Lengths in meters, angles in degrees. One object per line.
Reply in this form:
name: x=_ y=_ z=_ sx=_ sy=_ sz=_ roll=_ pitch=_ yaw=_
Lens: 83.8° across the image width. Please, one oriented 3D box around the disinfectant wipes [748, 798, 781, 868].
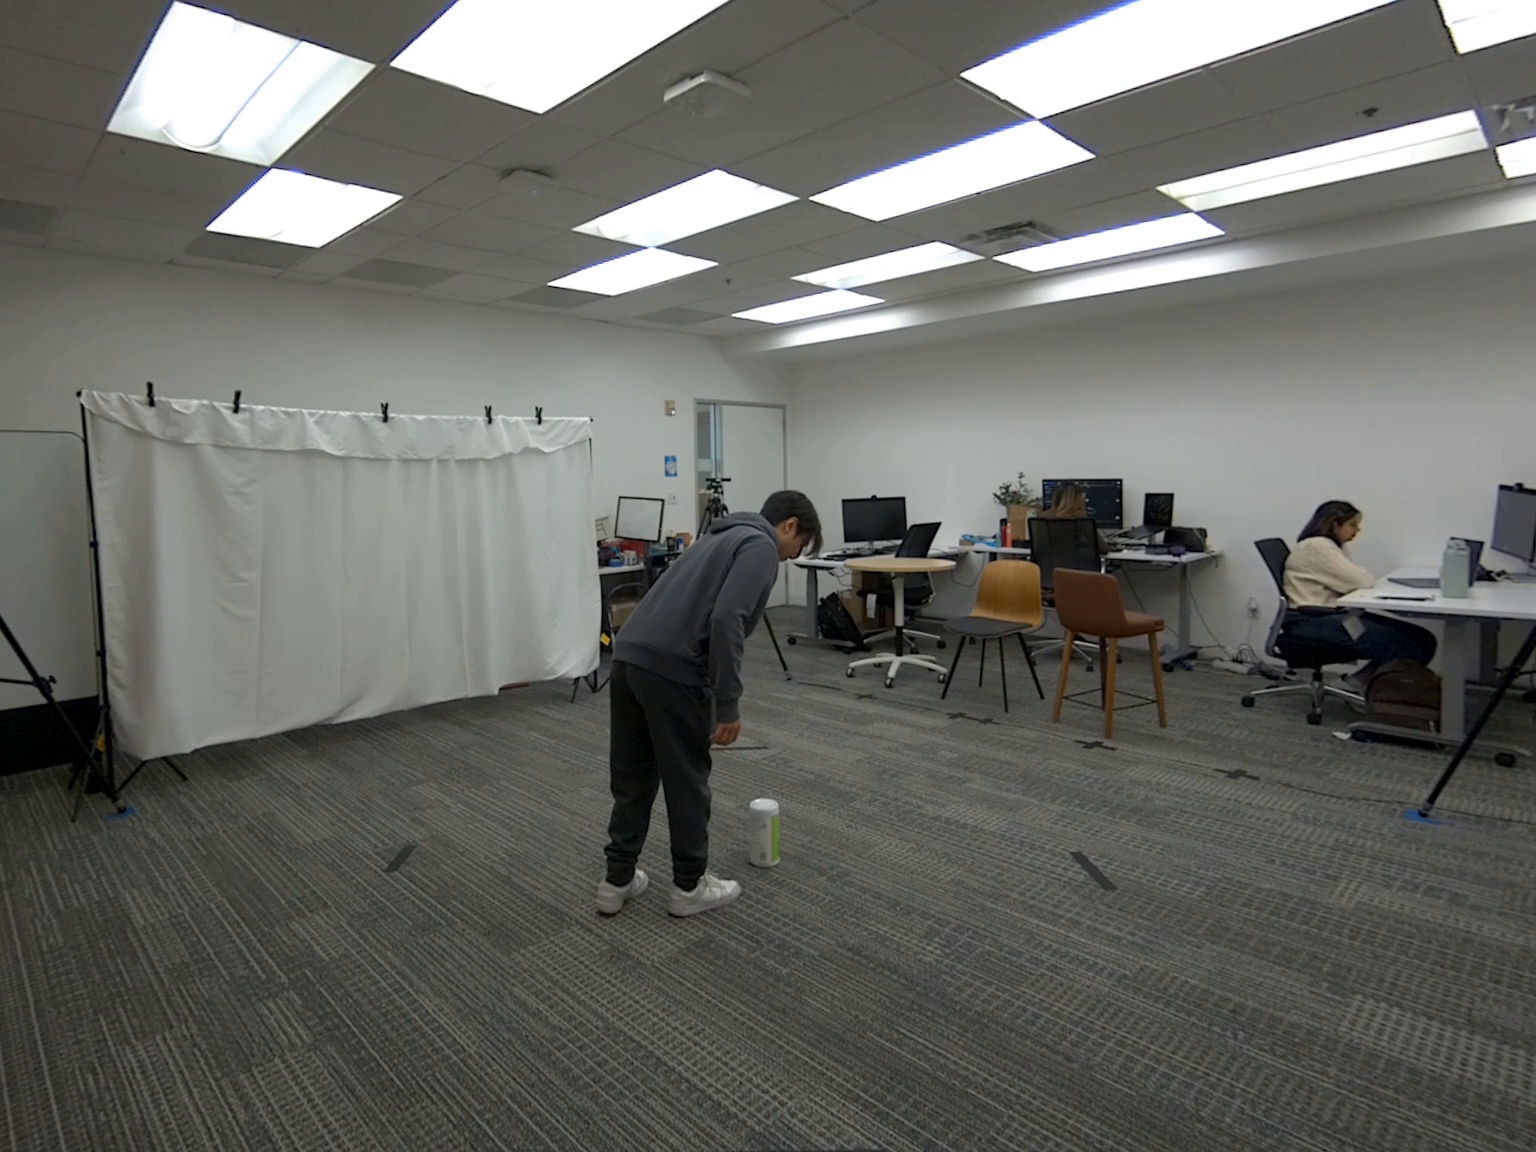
disinfectant wipes: x=-0.013 y=0.933 z=3.107 sx=0.118 sy=0.217 sz=0.118 roll=0 pitch=4 yaw=-2
